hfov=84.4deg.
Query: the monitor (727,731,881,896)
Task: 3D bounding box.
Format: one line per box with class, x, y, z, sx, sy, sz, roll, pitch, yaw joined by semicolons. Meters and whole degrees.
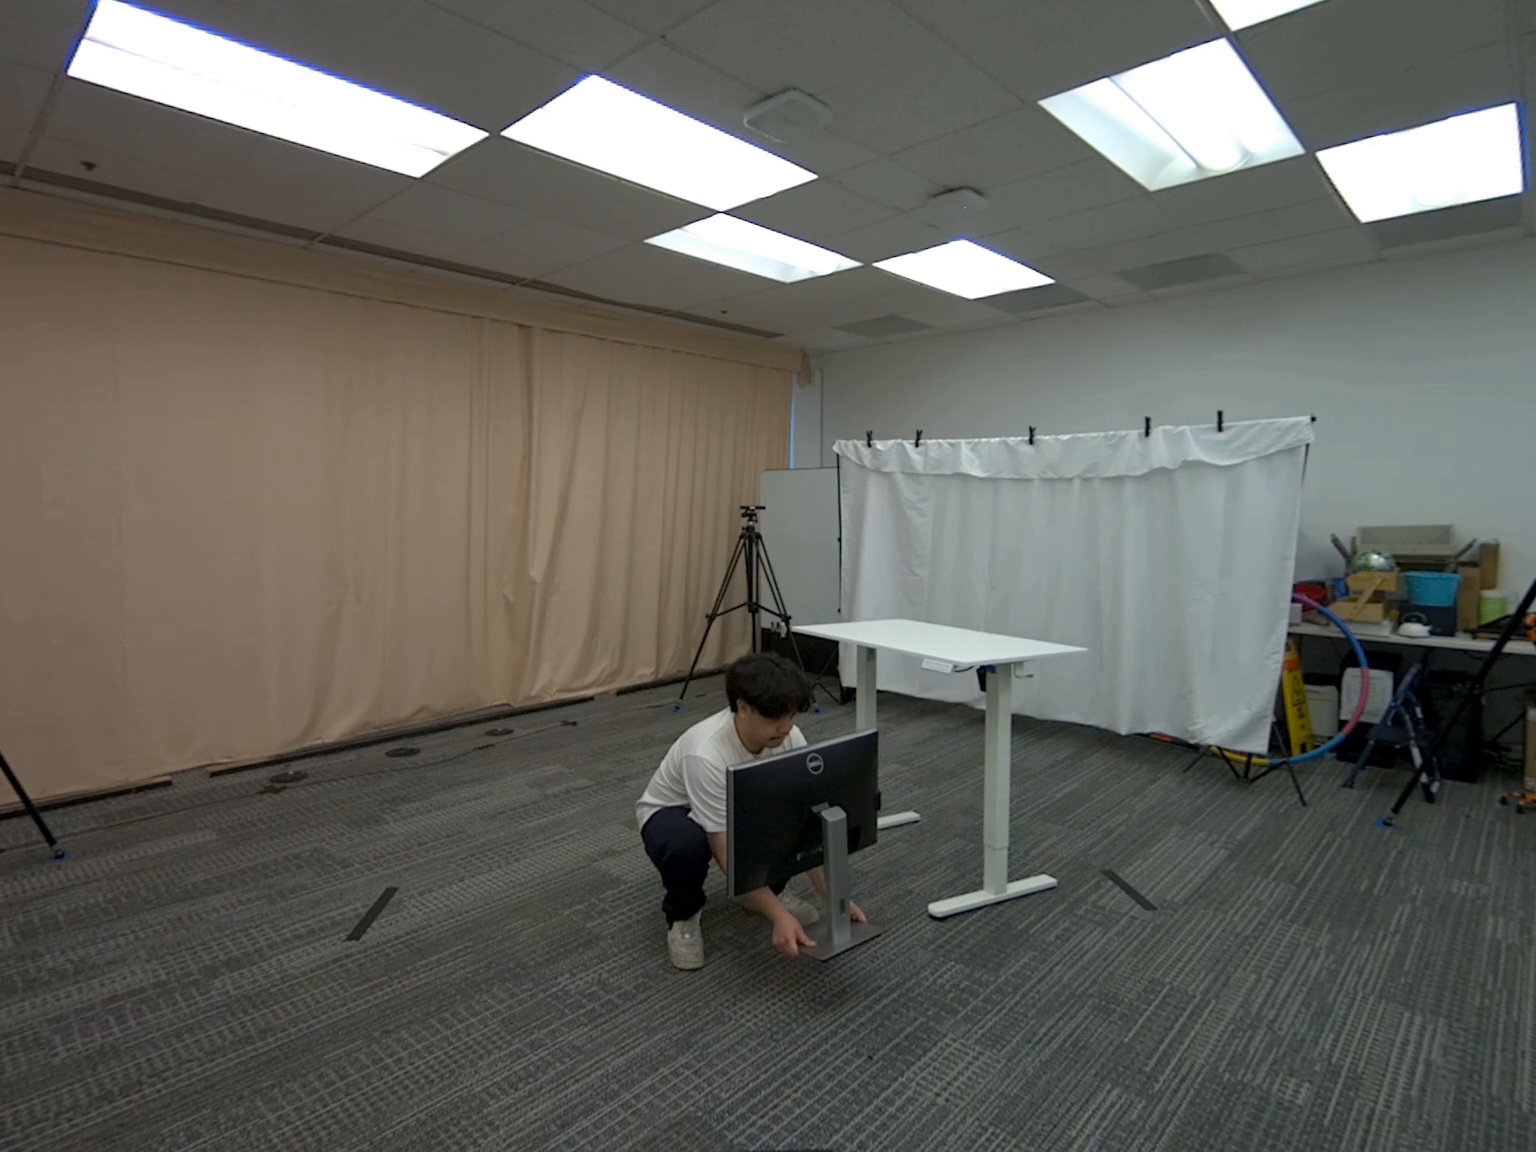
monitor;0.160;0.753;2.373;0.549;0.553;0.217;-5;3;-37
